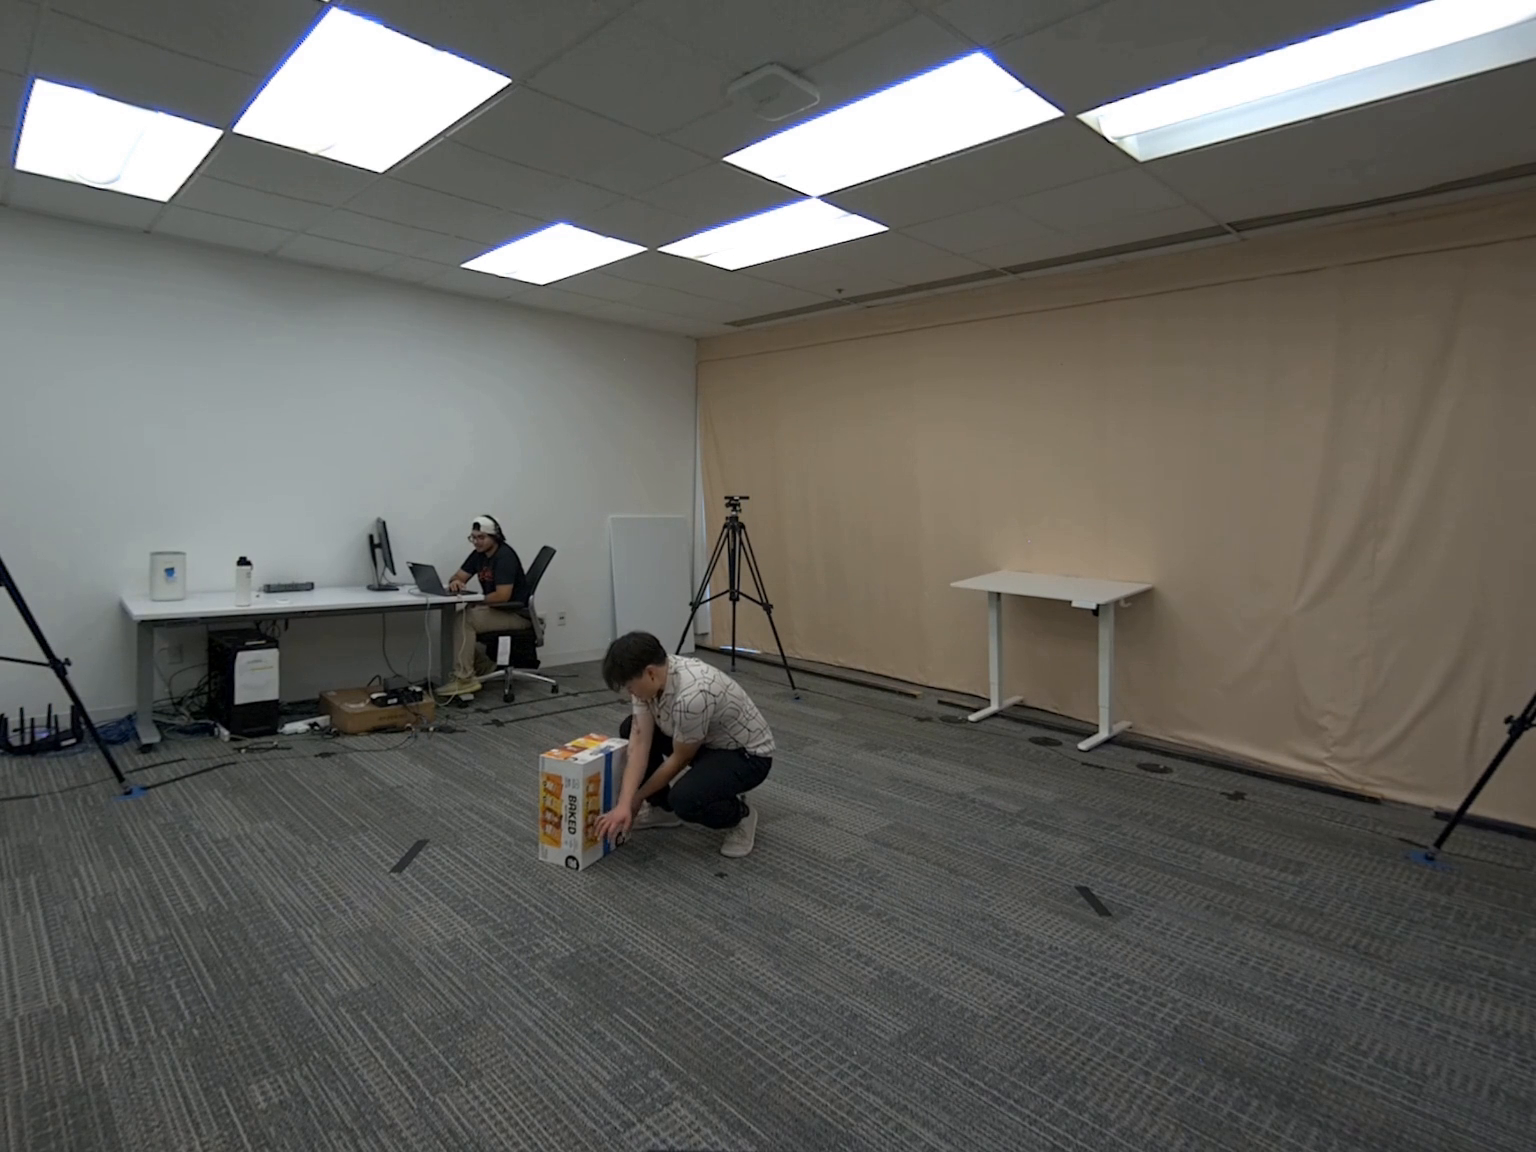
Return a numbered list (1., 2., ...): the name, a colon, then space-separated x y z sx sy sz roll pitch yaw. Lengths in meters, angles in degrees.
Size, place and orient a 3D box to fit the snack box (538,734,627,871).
1. snack box: -0.709 0.866 3.293 0.209 0.404 0.335 3 5 24
